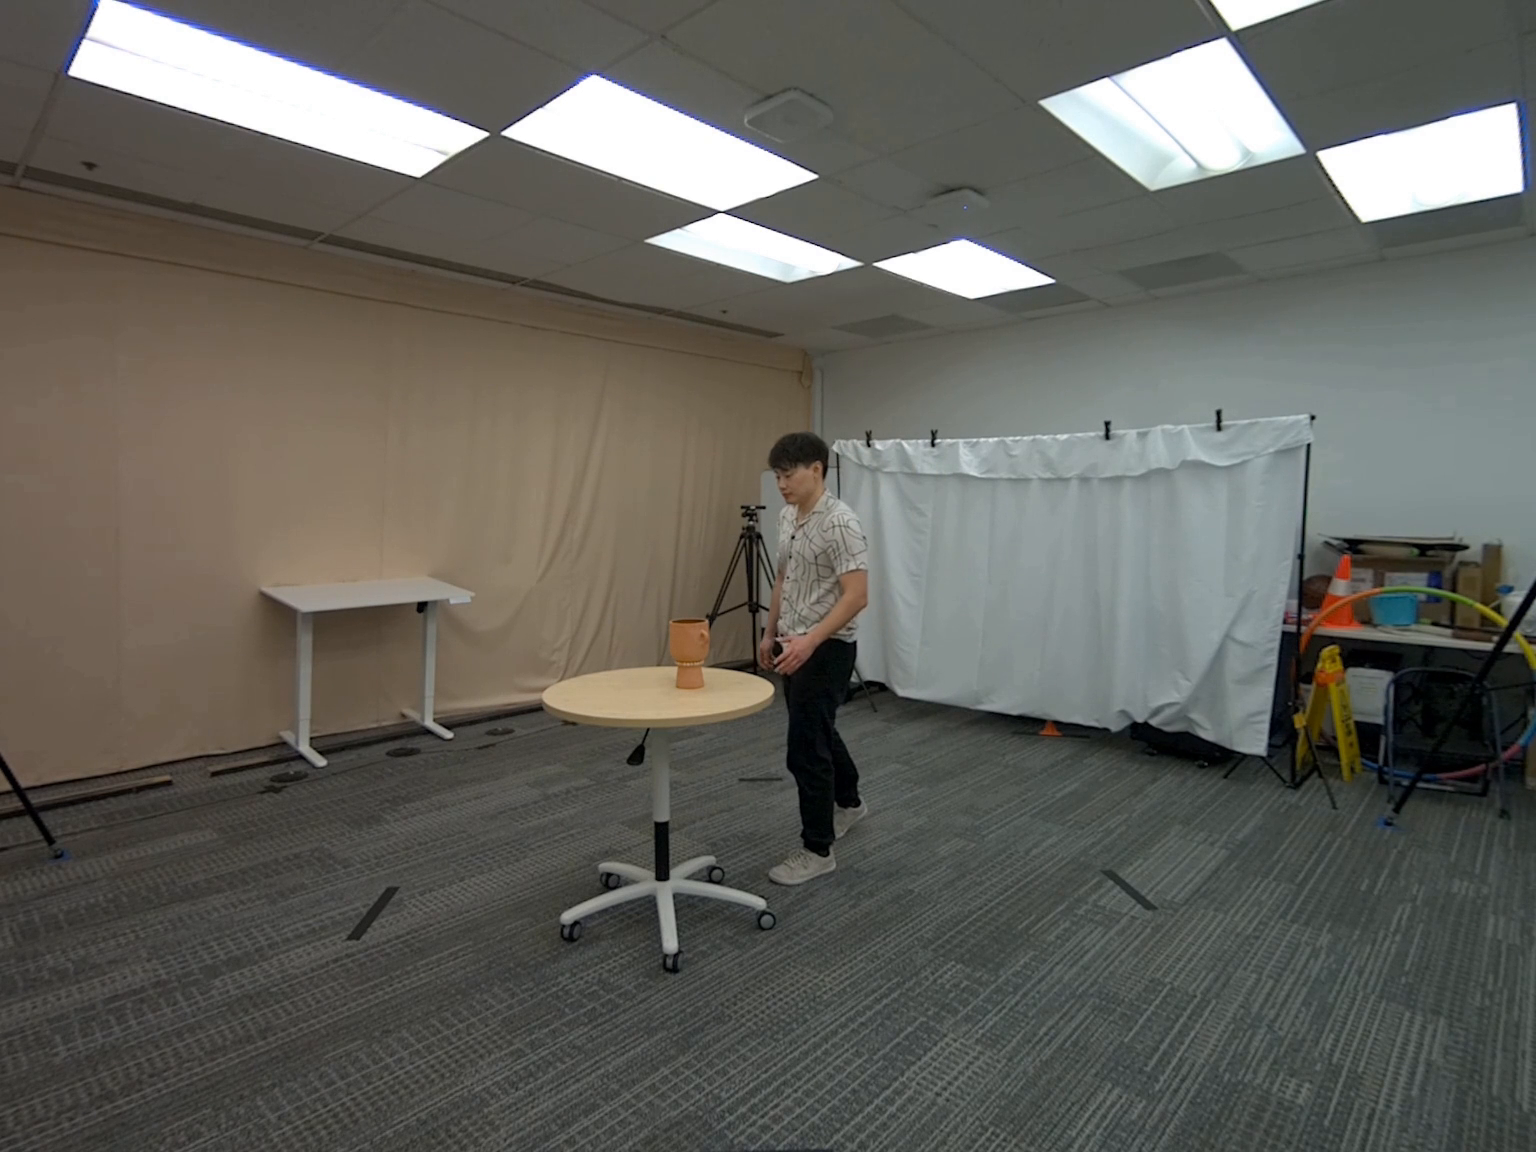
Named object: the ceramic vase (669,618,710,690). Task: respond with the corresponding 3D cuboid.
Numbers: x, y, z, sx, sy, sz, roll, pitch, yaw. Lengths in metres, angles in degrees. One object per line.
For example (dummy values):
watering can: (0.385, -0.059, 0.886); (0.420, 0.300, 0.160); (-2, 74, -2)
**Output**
ceramic vase: (-0.260, 0.263, 2.835); (0.134, 0.219, 0.160); (0, 4, -4)
